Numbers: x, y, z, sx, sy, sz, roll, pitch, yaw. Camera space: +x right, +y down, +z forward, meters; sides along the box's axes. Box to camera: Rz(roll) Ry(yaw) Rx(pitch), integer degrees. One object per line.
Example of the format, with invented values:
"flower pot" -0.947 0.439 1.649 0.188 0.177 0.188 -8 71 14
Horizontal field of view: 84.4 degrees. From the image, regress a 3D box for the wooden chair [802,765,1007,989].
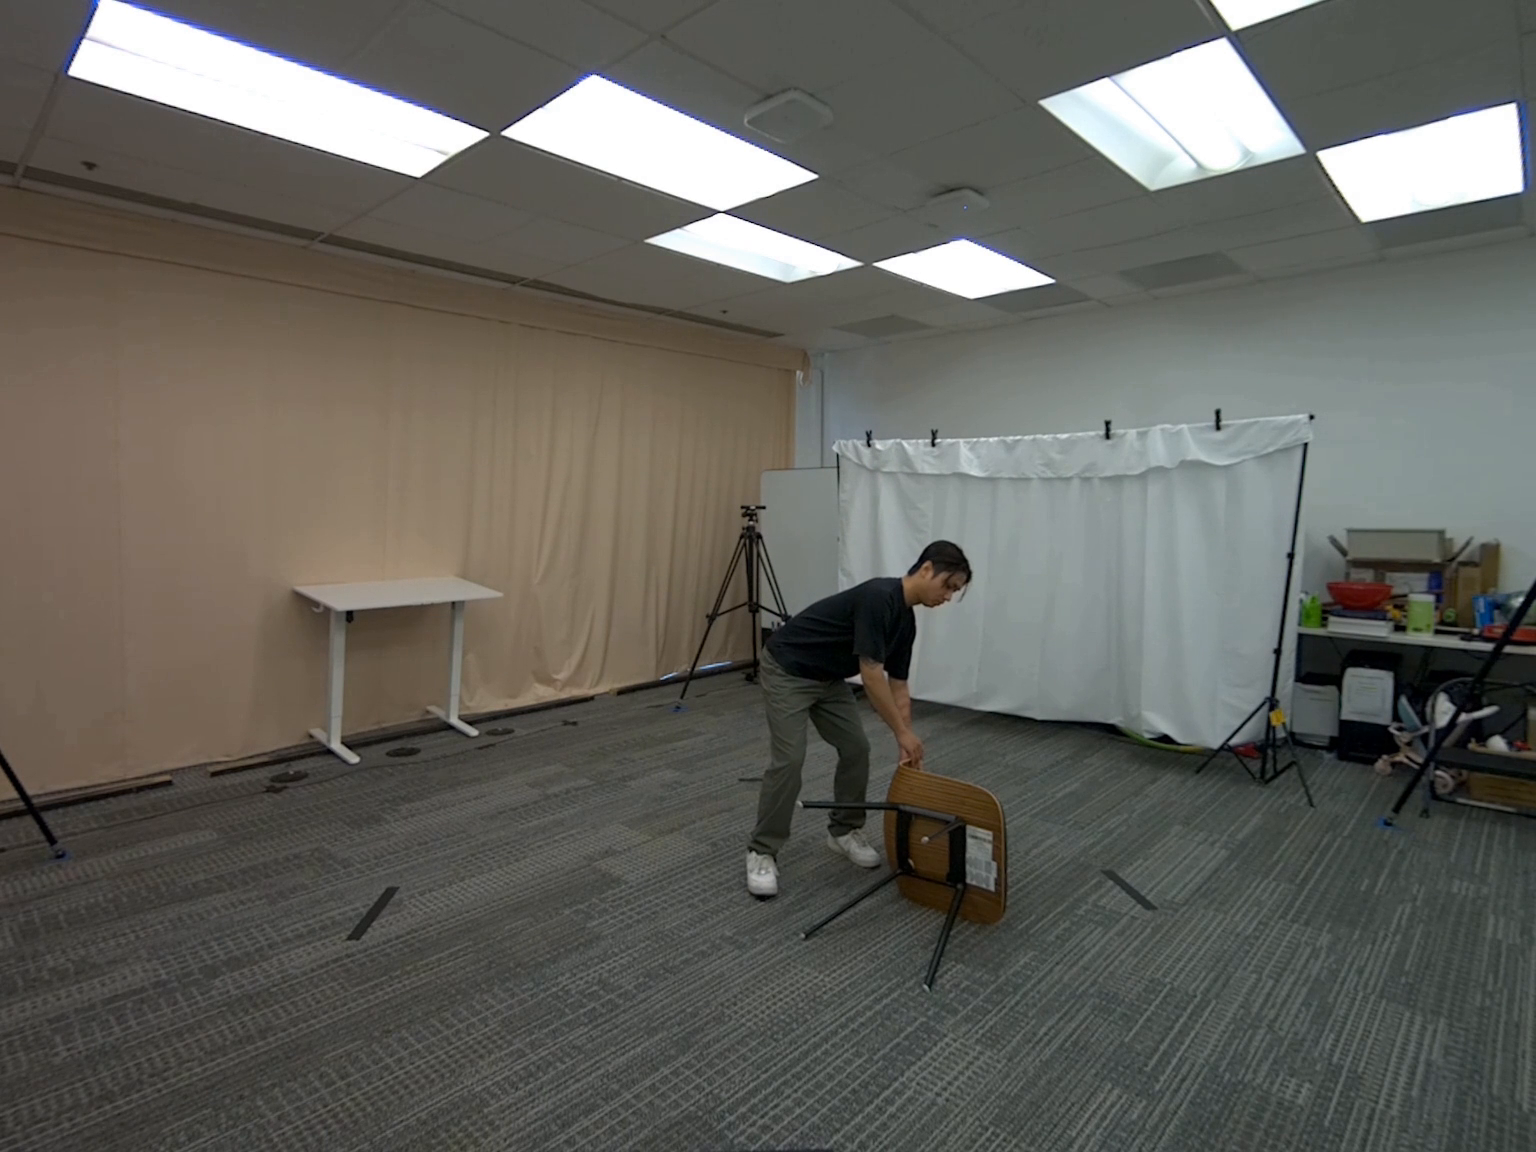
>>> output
"wooden chair" 0.547 0.918 2.855 0.540 0.477 0.852 2 5 35
